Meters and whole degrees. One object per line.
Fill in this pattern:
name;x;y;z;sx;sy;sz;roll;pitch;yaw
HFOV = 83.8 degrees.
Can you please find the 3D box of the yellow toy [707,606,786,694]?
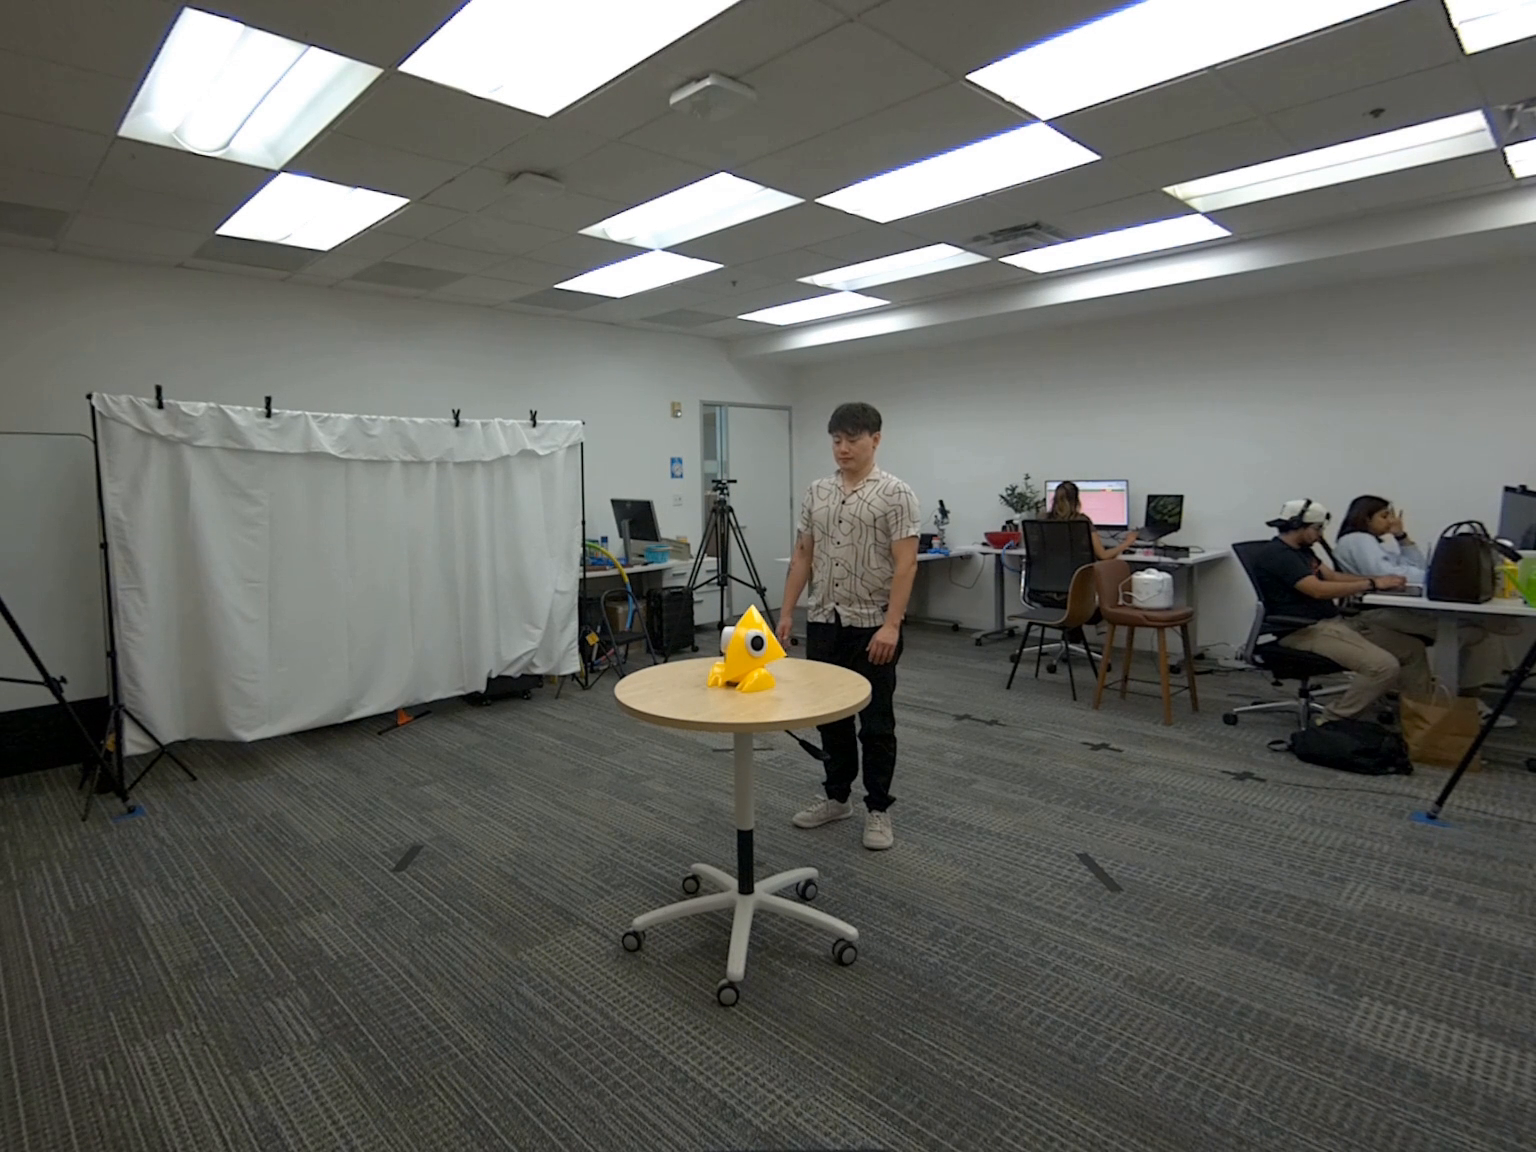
yellow toy;-0.072;0.213;2.576;0.211;0.229;0.188;4;7;34
